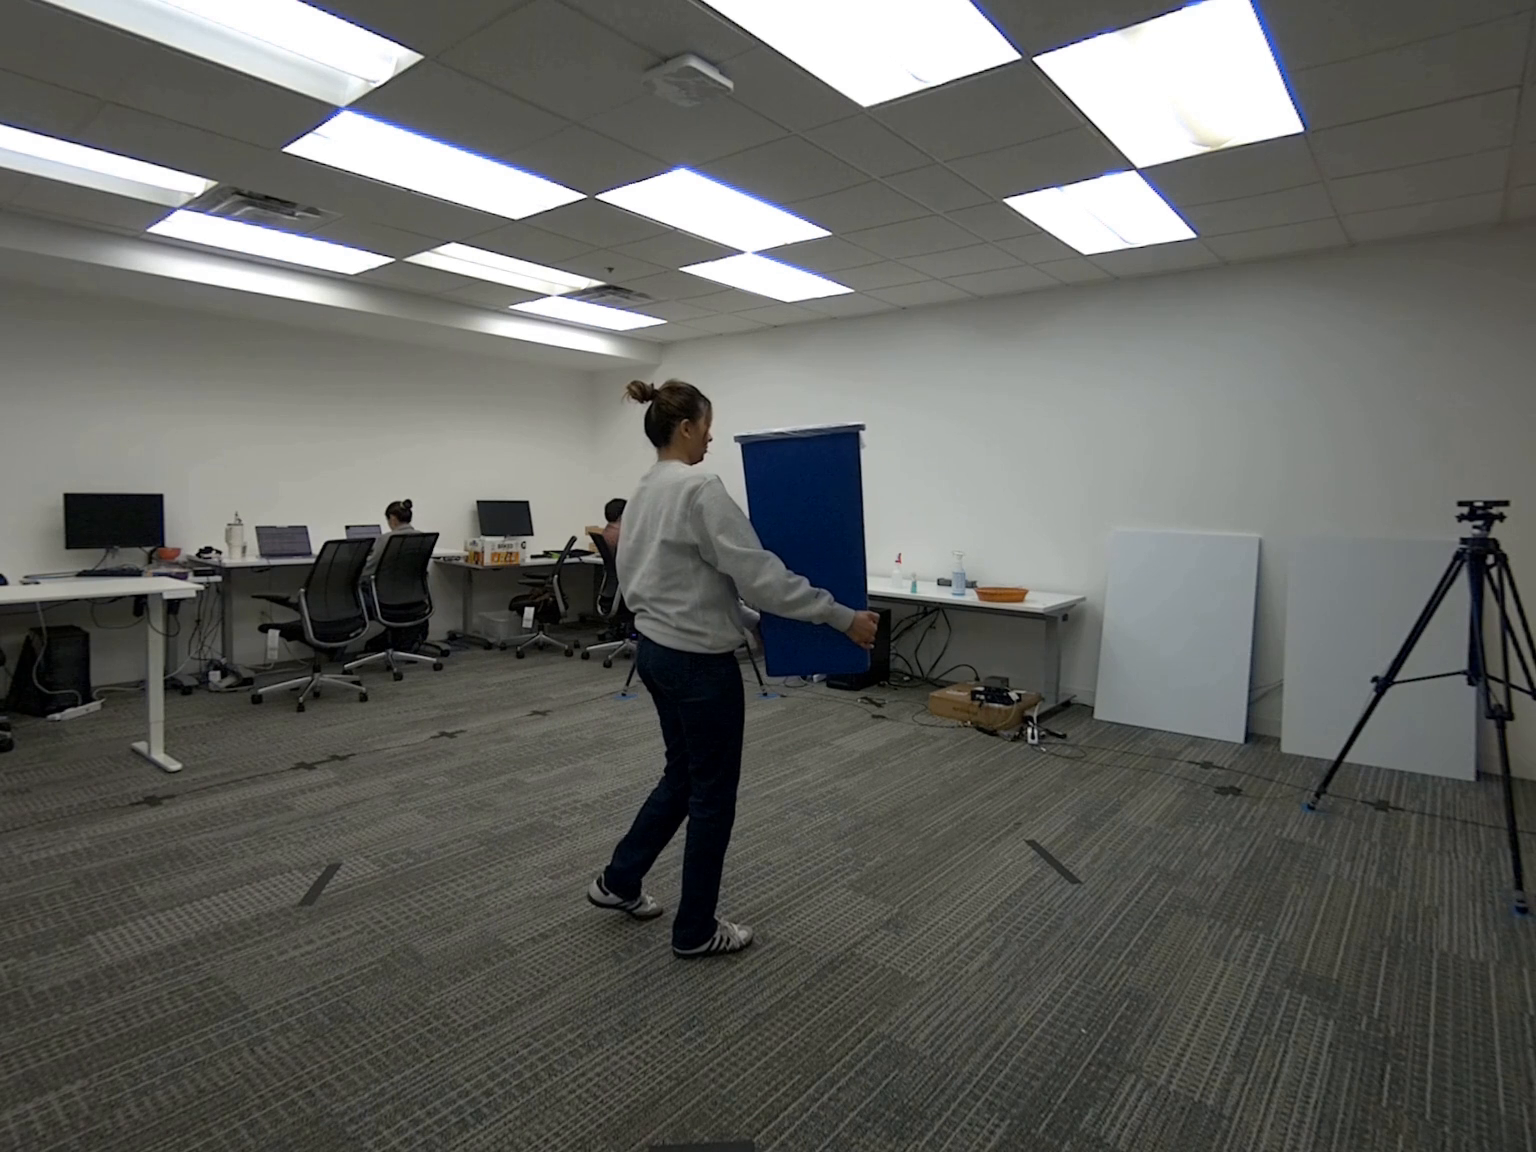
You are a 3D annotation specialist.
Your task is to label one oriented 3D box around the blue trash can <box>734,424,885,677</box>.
[{"bbox_3d":[0.104,-0.097,2.564,0.375,0.708,0.380,-4,7,2],"label":"blue trash can"}]
